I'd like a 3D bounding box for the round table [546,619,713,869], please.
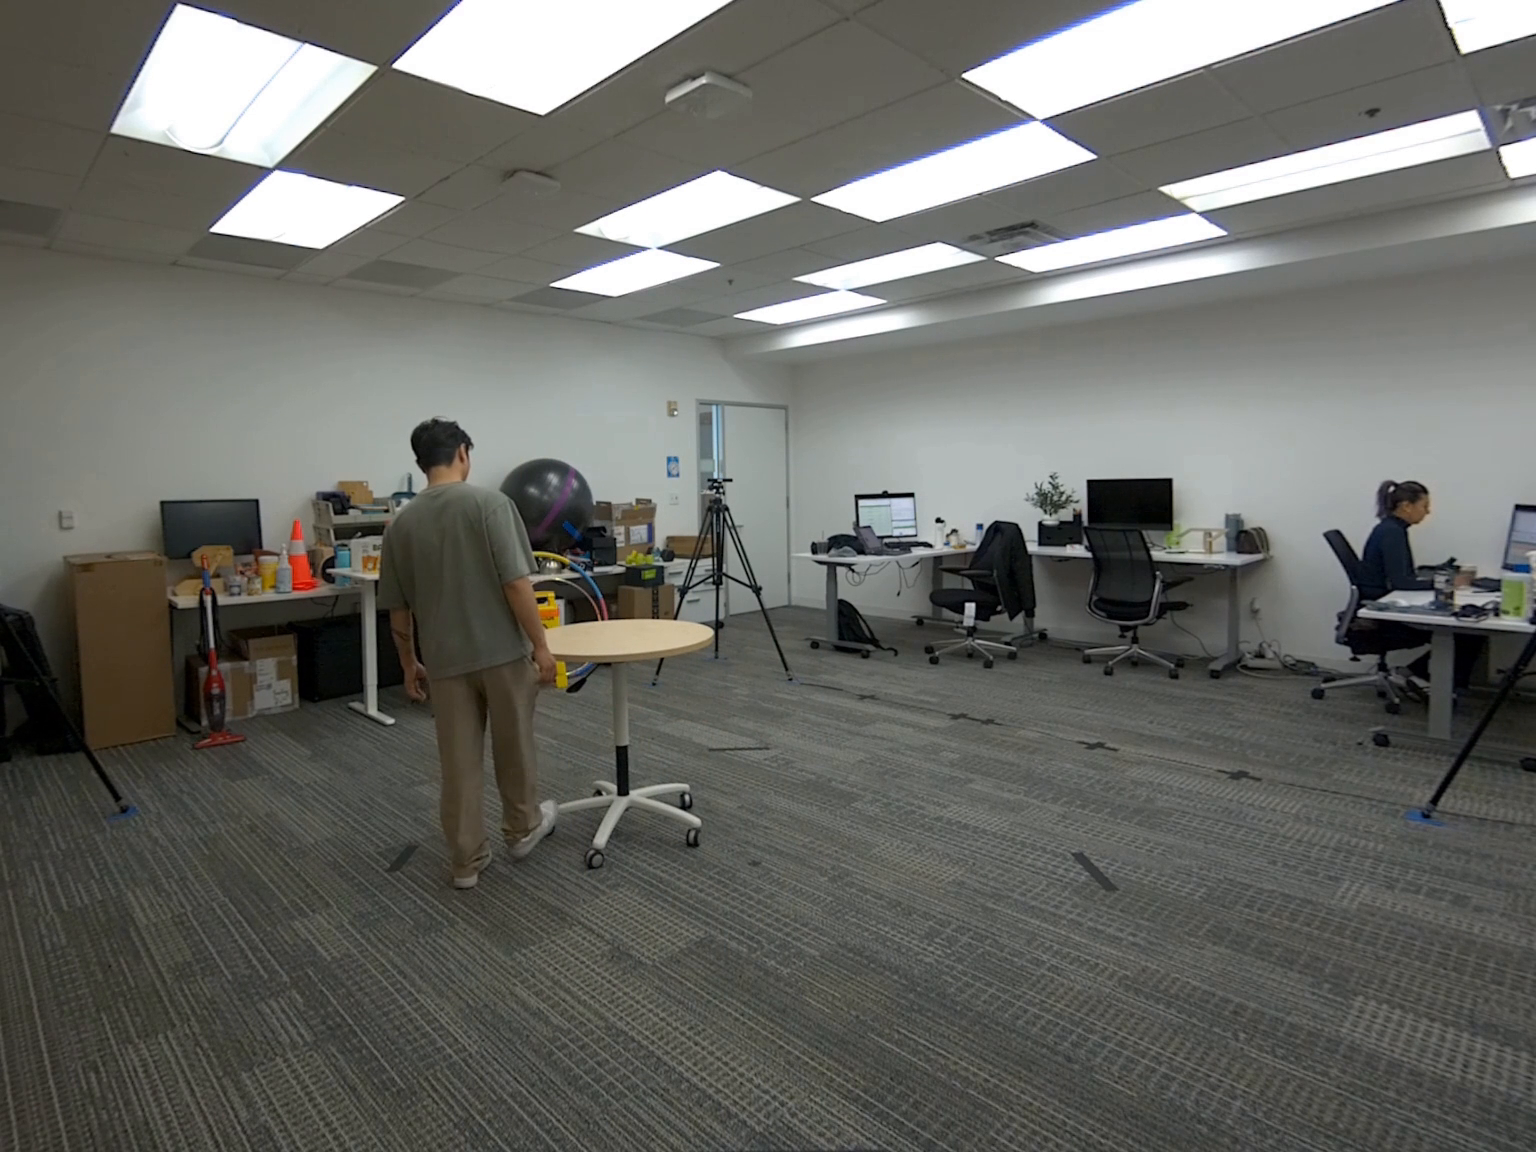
[{"bbox_3d":[-0.585,0.626,3.405,0.784,0.784,0.789,-2,5,-2],"label":"round table"}]
